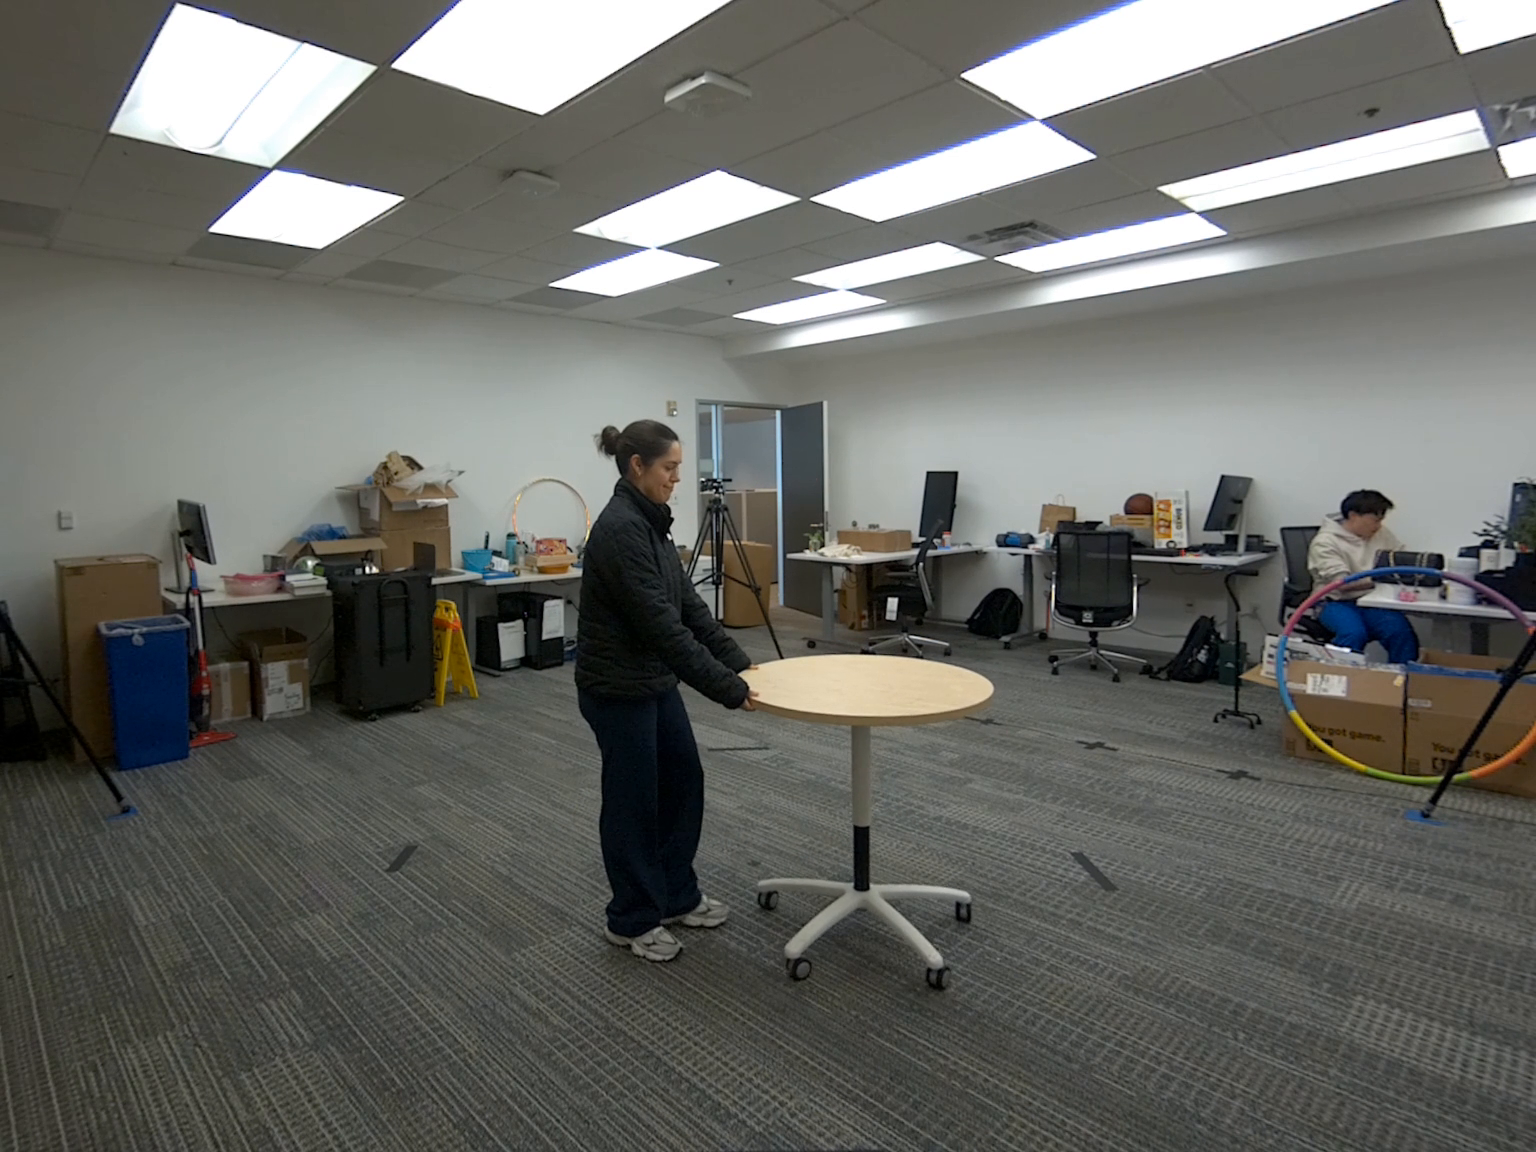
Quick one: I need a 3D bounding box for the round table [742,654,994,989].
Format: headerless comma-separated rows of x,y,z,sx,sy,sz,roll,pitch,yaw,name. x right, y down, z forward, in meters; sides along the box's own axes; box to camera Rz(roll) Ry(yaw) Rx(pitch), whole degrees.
0.278,0.698,2.619,0.784,0.783,0.789,-1,5,-2,round table
